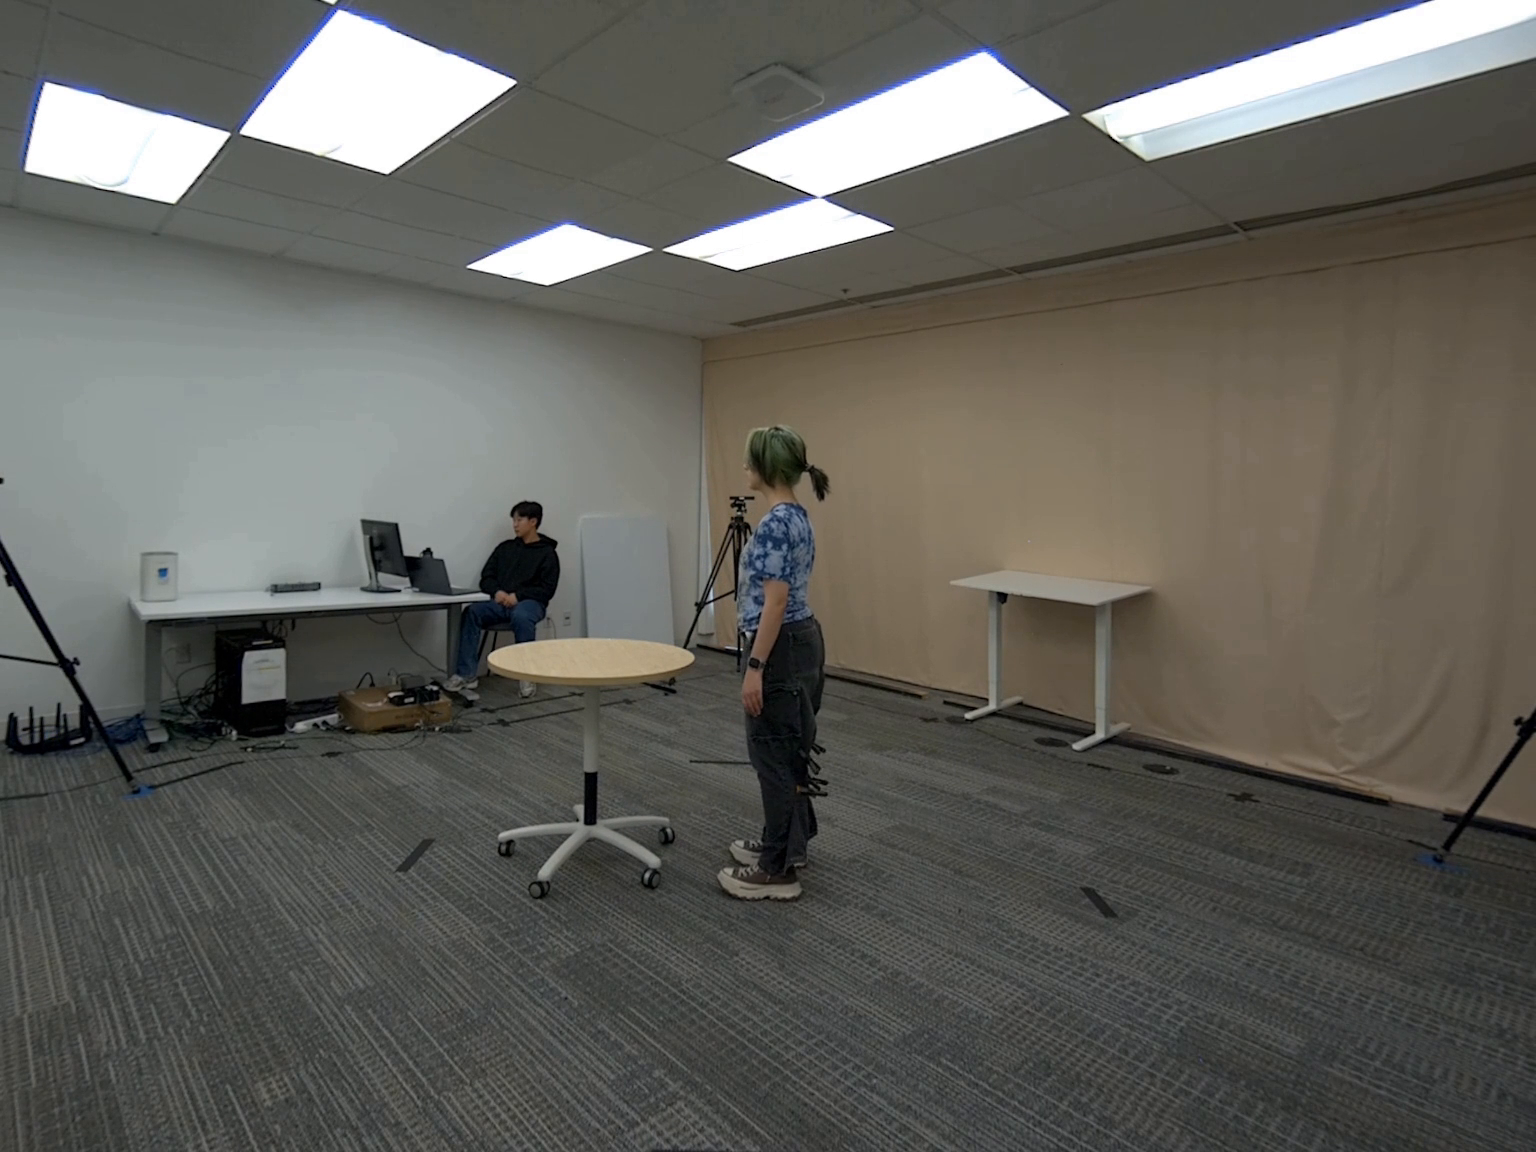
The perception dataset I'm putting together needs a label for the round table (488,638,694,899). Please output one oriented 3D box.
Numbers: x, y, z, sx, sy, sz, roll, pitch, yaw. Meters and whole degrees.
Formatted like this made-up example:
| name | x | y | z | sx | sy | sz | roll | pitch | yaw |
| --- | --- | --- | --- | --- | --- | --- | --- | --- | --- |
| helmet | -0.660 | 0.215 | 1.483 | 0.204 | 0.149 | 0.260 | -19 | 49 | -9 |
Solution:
| name | x | y | z | sx | sy | sz | roll | pitch | yaw |
| --- | --- | --- | --- | --- | --- | --- | --- | --- | --- |
| round table | -0.672 | 0.694 | 3.194 | 0.763 | 0.792 | 0.767 | 1 | 4 | -1 |
